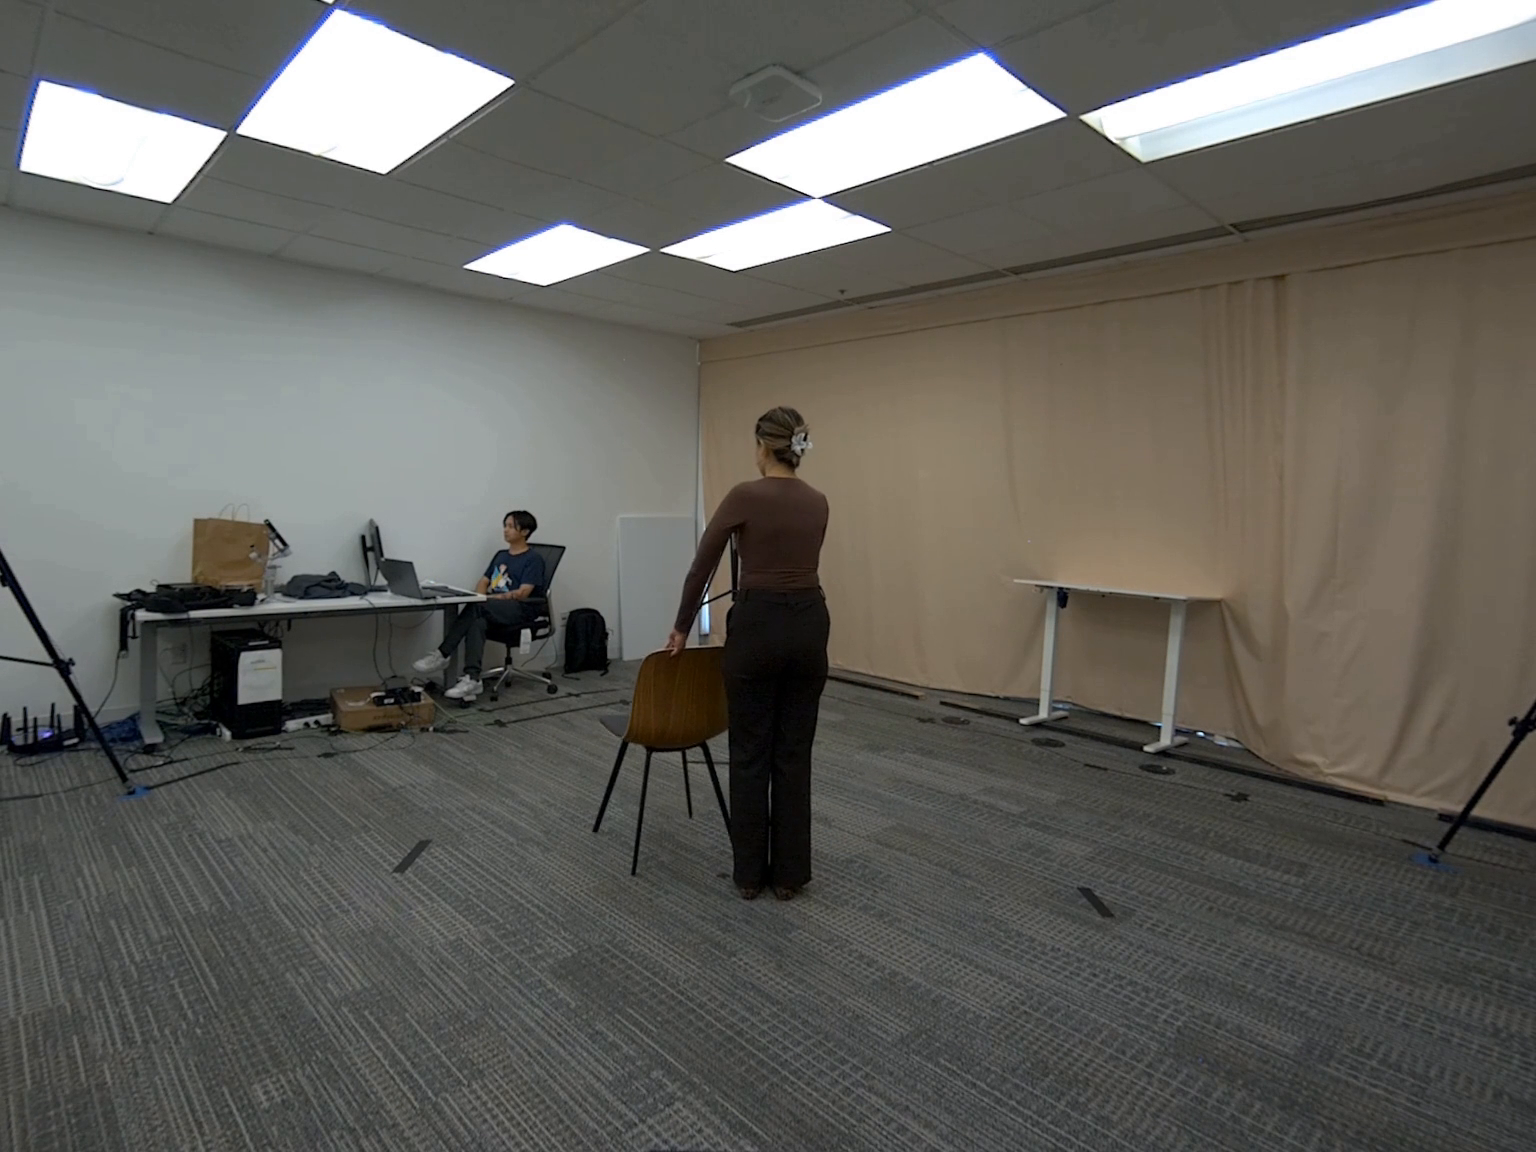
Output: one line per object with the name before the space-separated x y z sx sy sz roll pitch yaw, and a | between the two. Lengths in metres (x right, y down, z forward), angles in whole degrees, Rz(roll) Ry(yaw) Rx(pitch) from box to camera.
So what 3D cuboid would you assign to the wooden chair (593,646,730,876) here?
wooden chair | -0.406 0.650 3.354 0.469 0.873 0.536 -1 9 -29
